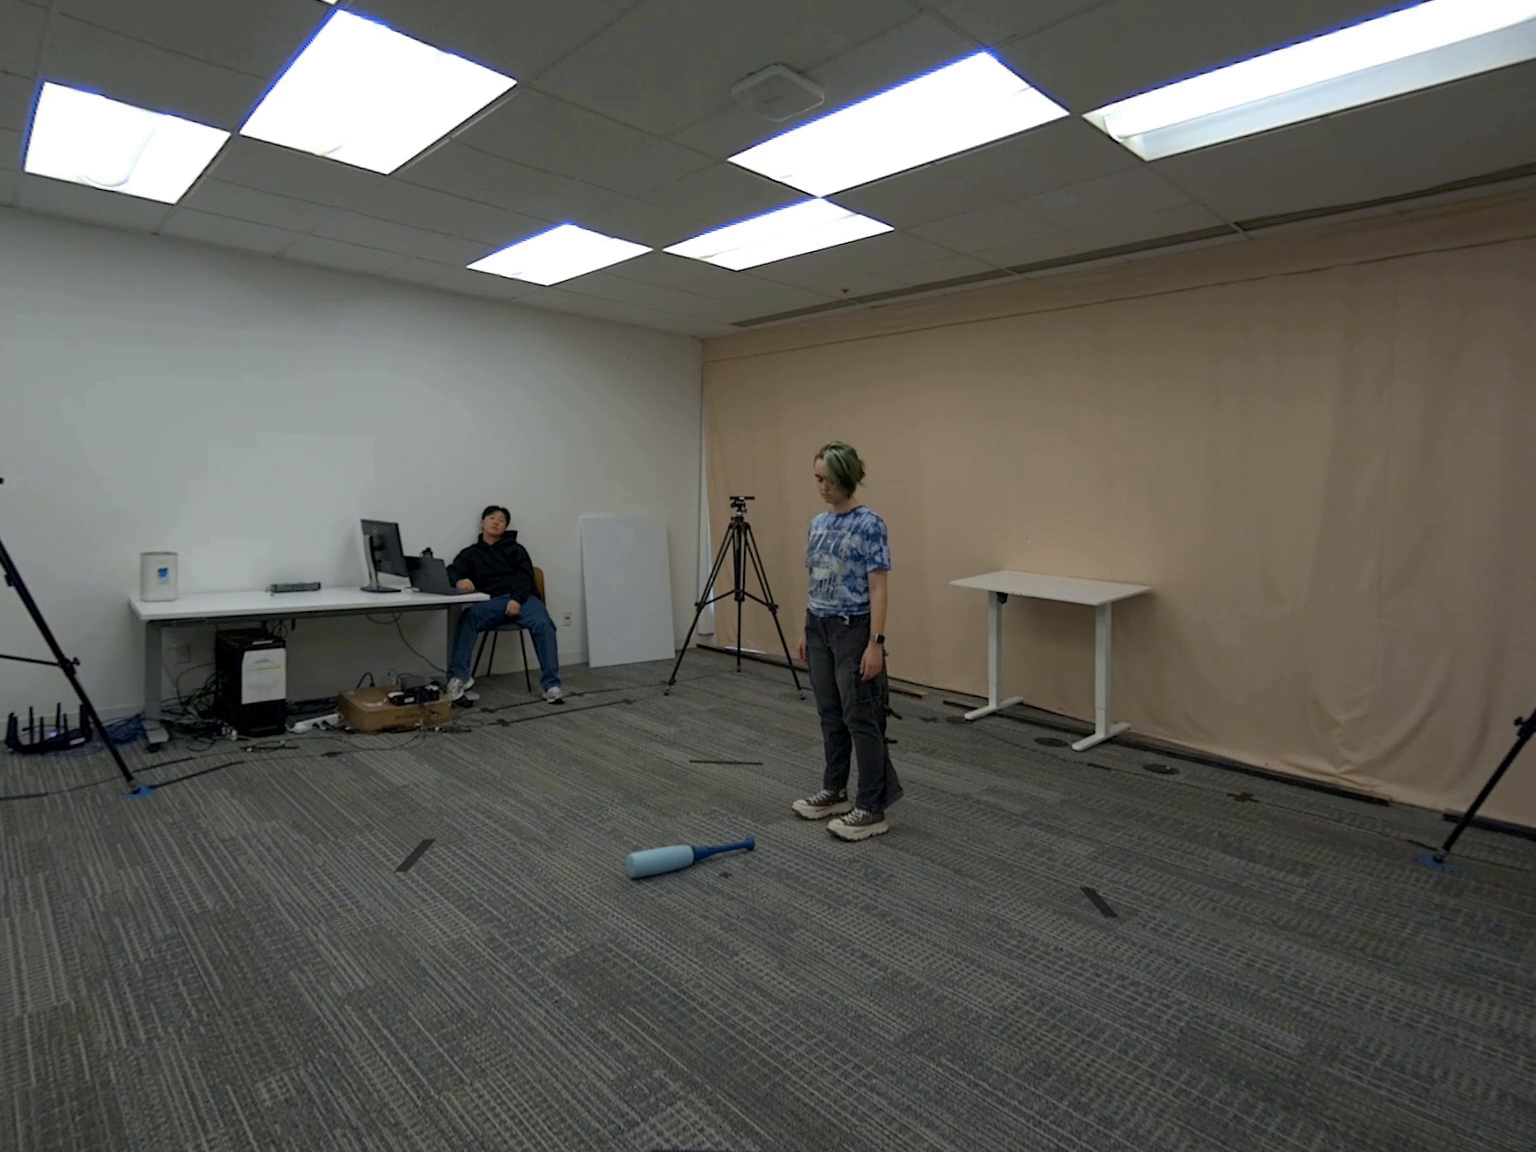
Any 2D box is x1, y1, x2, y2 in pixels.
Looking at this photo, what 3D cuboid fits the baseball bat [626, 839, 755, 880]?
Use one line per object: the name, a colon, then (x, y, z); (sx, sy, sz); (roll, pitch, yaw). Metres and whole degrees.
baseball bat: (-0.288, 1.060, 3.190); (0.531, 0.089, 0.091); (2, 3, -33)
